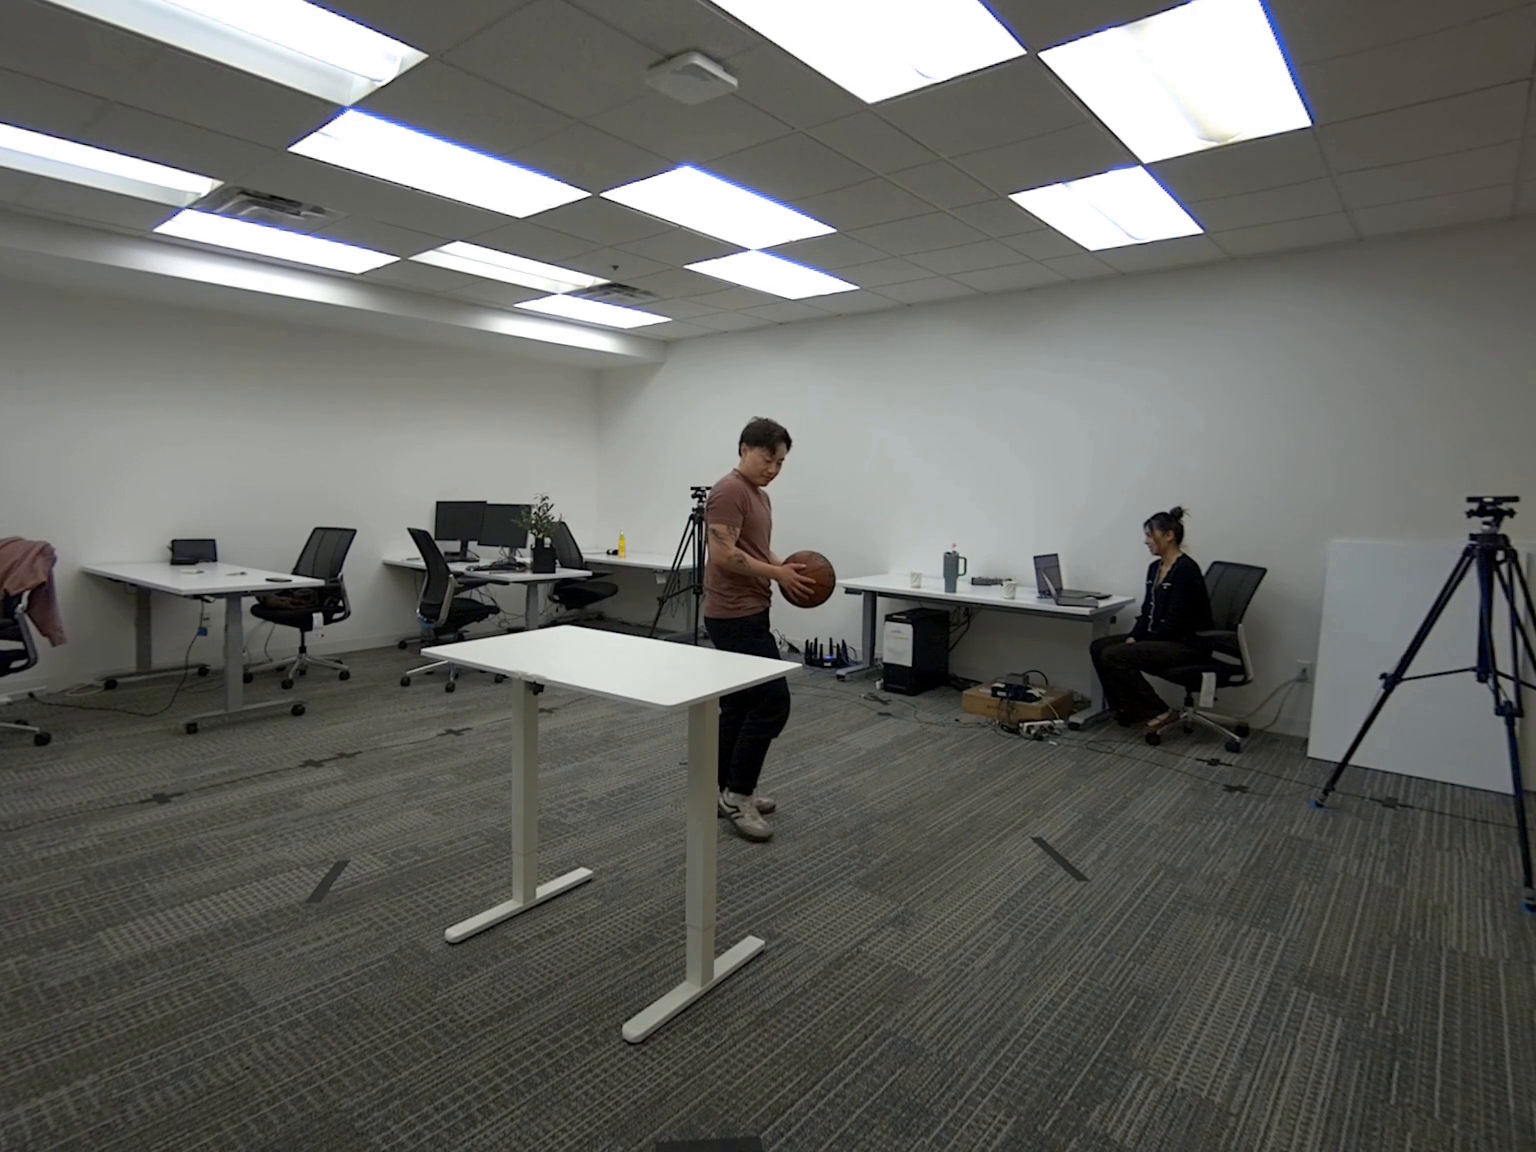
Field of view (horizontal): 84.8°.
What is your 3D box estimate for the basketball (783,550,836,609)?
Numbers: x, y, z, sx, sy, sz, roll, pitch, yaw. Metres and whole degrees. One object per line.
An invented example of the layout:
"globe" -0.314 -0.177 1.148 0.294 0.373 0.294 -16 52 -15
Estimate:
"basketball" 0.148 0.013 3.463 0.235 0.235 0.237 1 4 -2
